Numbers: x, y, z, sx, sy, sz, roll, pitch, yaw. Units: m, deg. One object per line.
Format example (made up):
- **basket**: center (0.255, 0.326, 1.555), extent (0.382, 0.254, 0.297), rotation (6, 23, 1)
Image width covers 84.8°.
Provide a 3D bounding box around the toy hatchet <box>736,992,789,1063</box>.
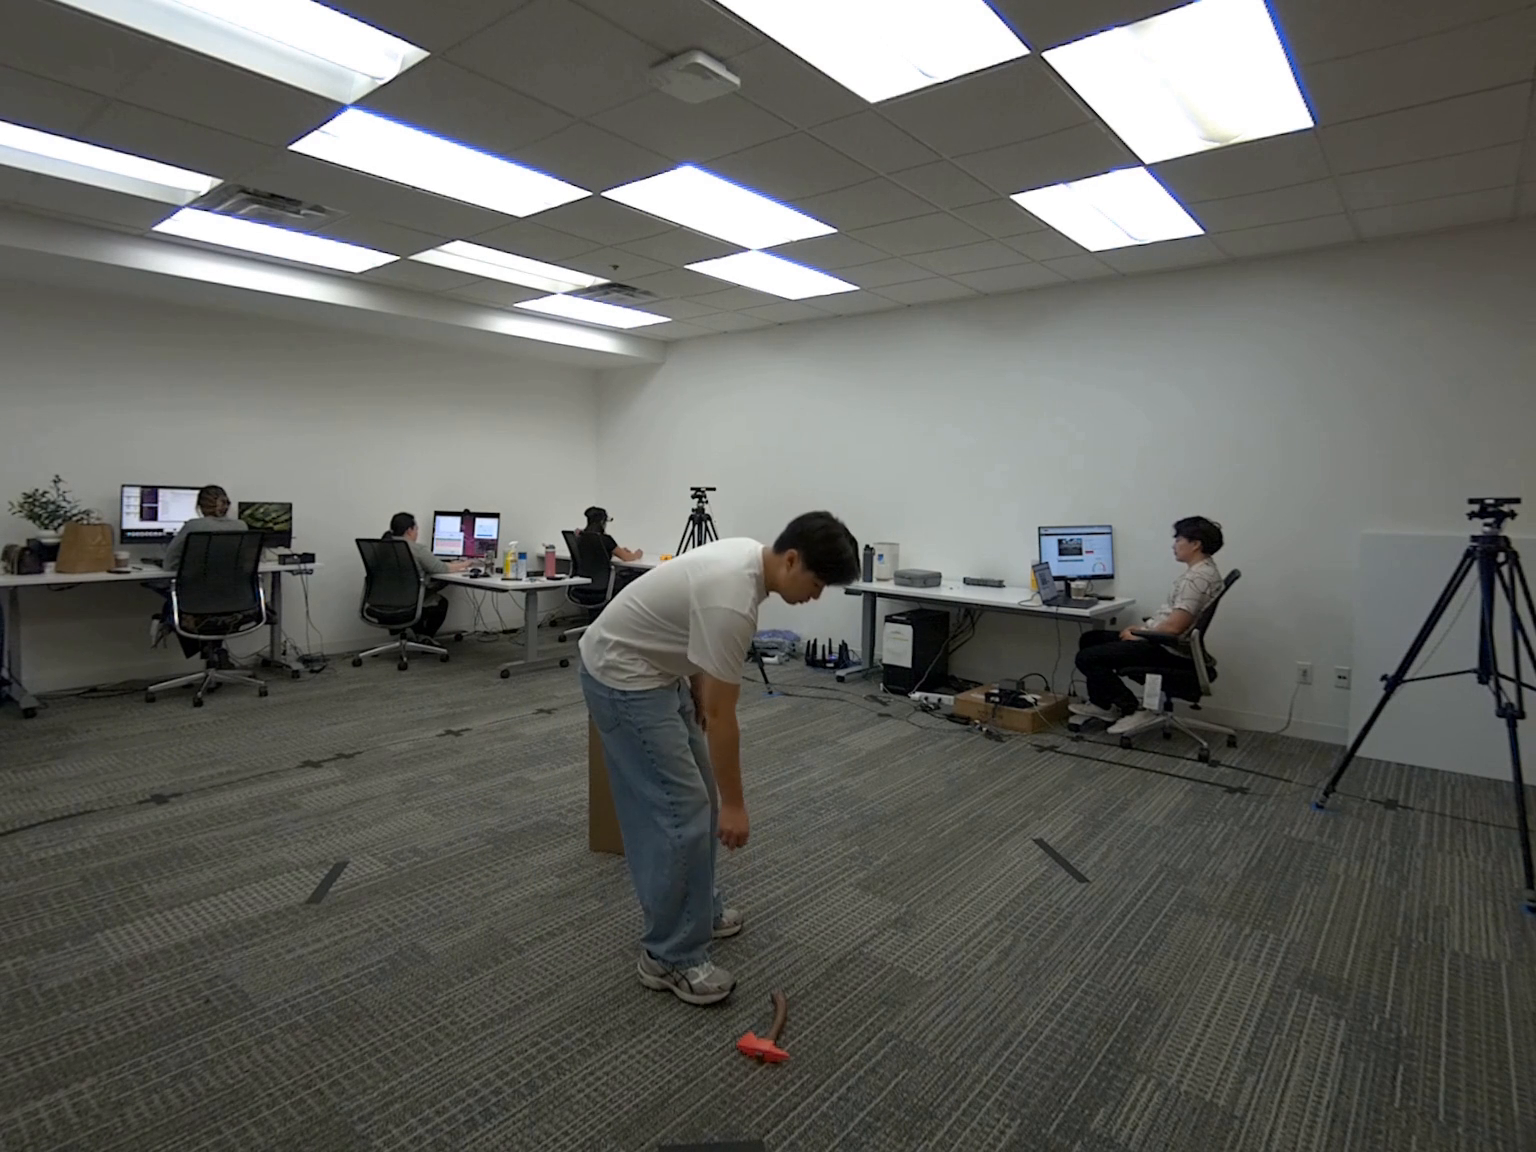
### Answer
- **toy hatchet**: center (-0.019, 1.149, 2.192), extent (0.131, 0.029, 0.270), rotation (-2, 3, 2)
